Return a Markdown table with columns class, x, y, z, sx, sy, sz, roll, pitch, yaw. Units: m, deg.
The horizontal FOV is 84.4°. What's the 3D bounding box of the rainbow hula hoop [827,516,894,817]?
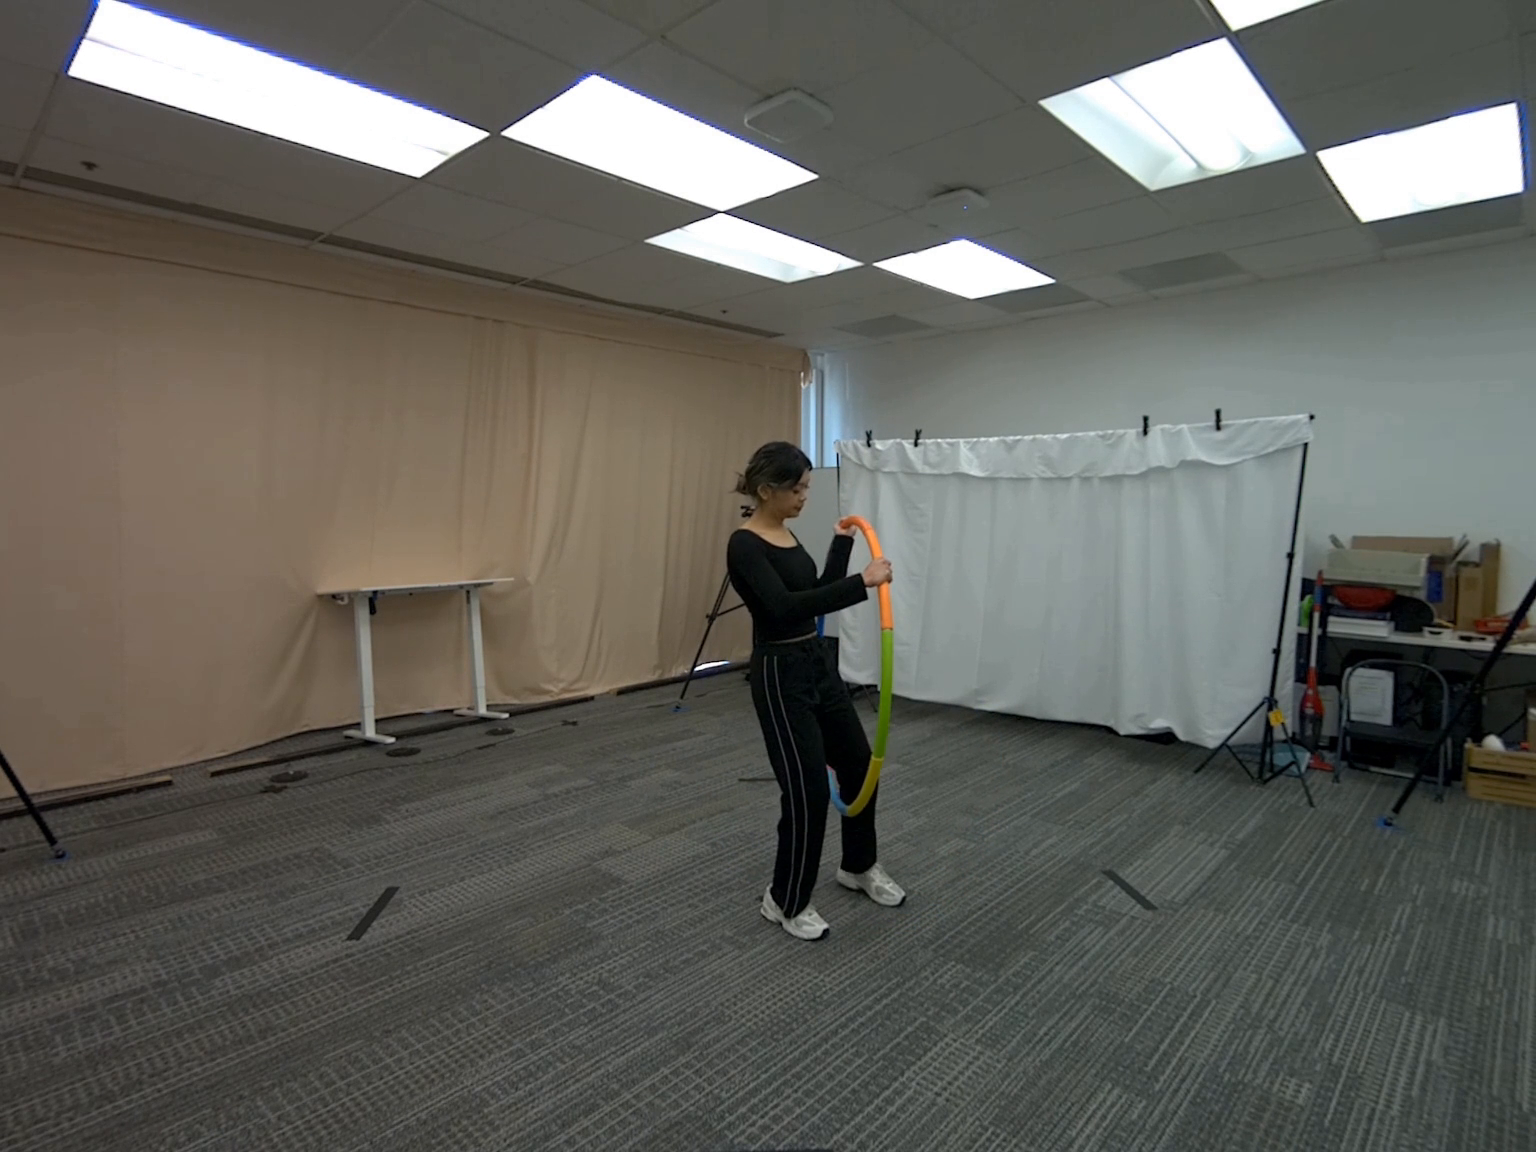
| class | x | y | z | sx | sy | sz | roll | pitch | yaw |
| --- | --- | --- | --- | --- | --- | --- | --- | --- | --- |
| rainbow hula hoop | 0.263 | 0.293 | 2.861 | 0.035 | 0.977 | 0.985 | 2 | 4 | -7 |
